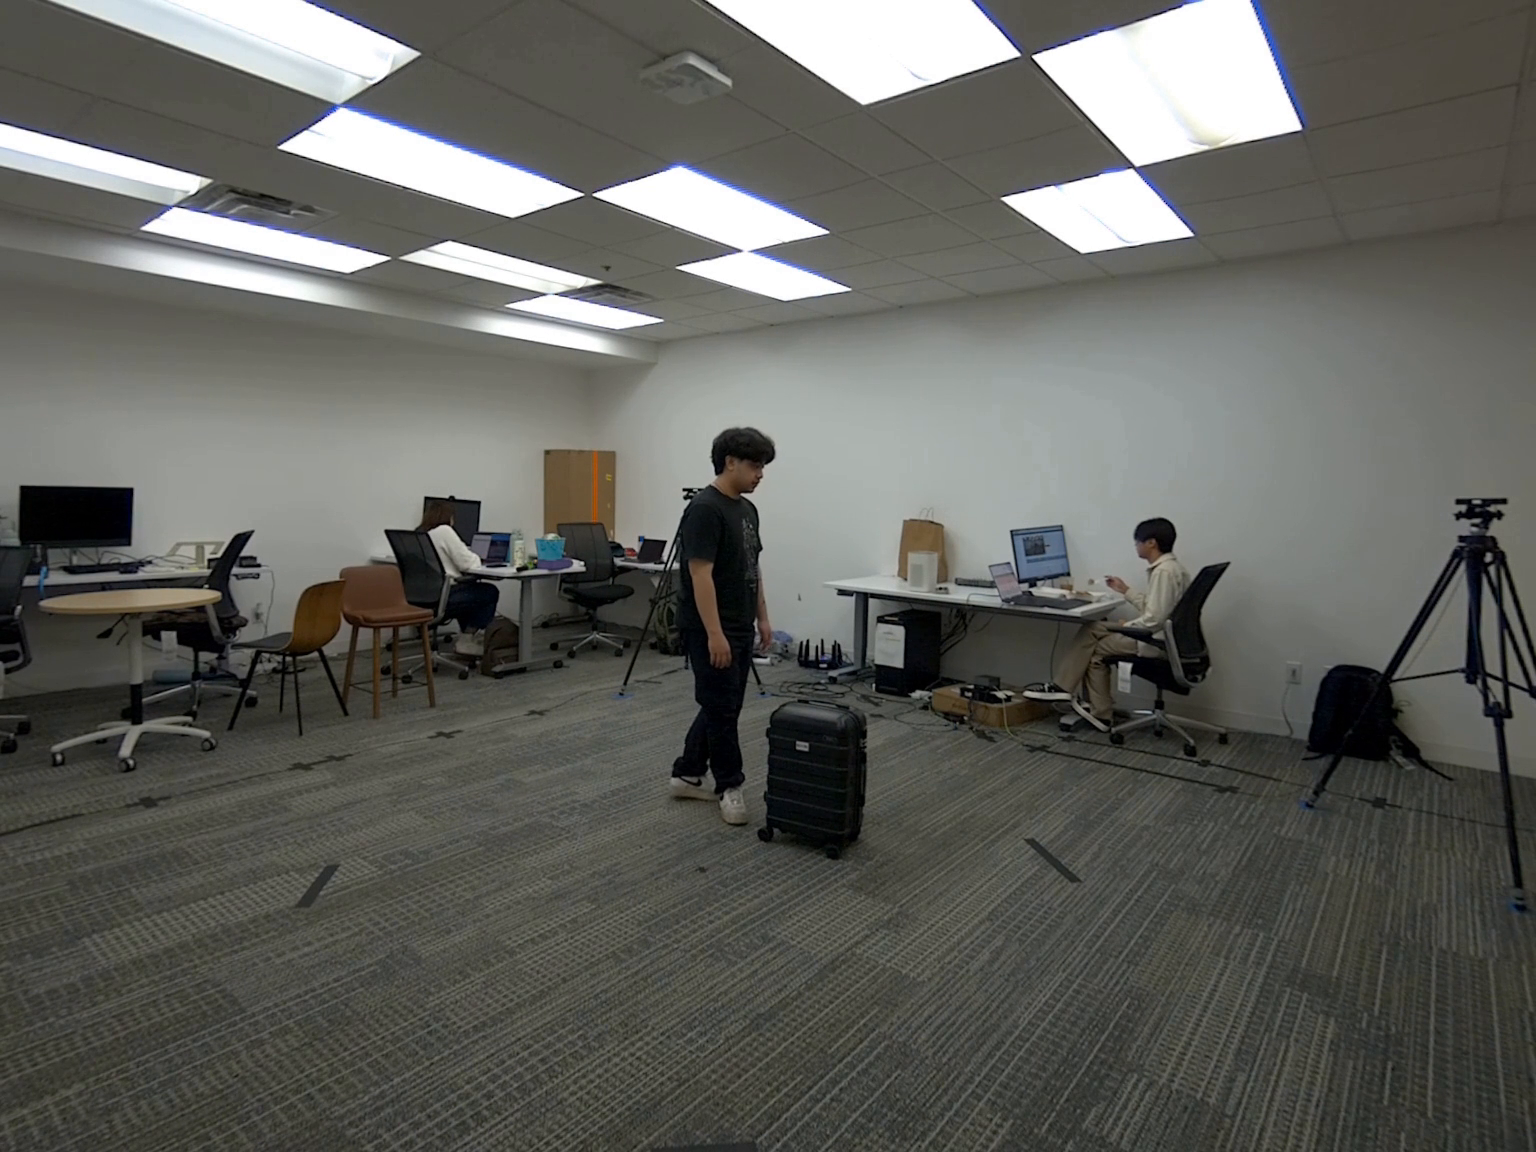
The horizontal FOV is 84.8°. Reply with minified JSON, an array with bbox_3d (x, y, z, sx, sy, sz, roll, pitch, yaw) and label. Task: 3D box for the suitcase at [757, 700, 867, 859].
[{"bbox_3d":[0.187,0.776,3.379,0.386,0.547,0.242,5,4,27],"label":"suitcase"}]
